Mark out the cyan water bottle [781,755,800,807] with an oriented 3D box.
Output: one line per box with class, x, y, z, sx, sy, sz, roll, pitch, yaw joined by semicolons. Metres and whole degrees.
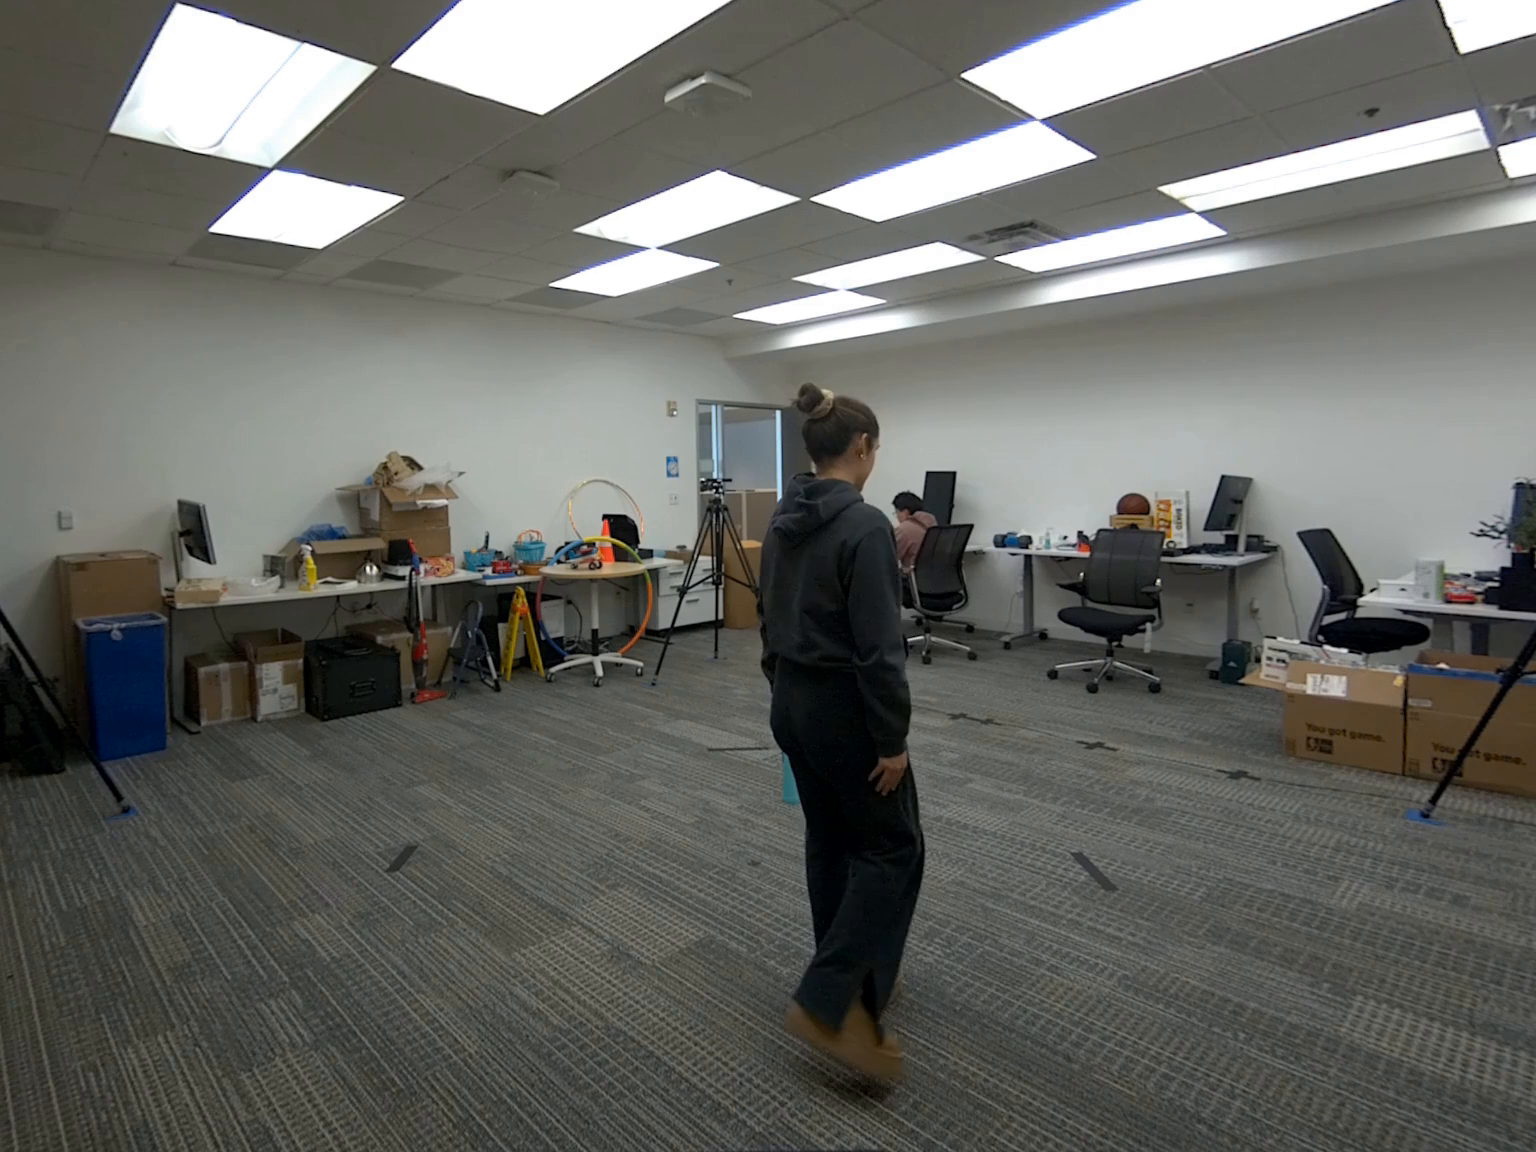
cyan water bottle;0.112;0.841;3.681;0.092;0.282;0.093;-3;4;-1
